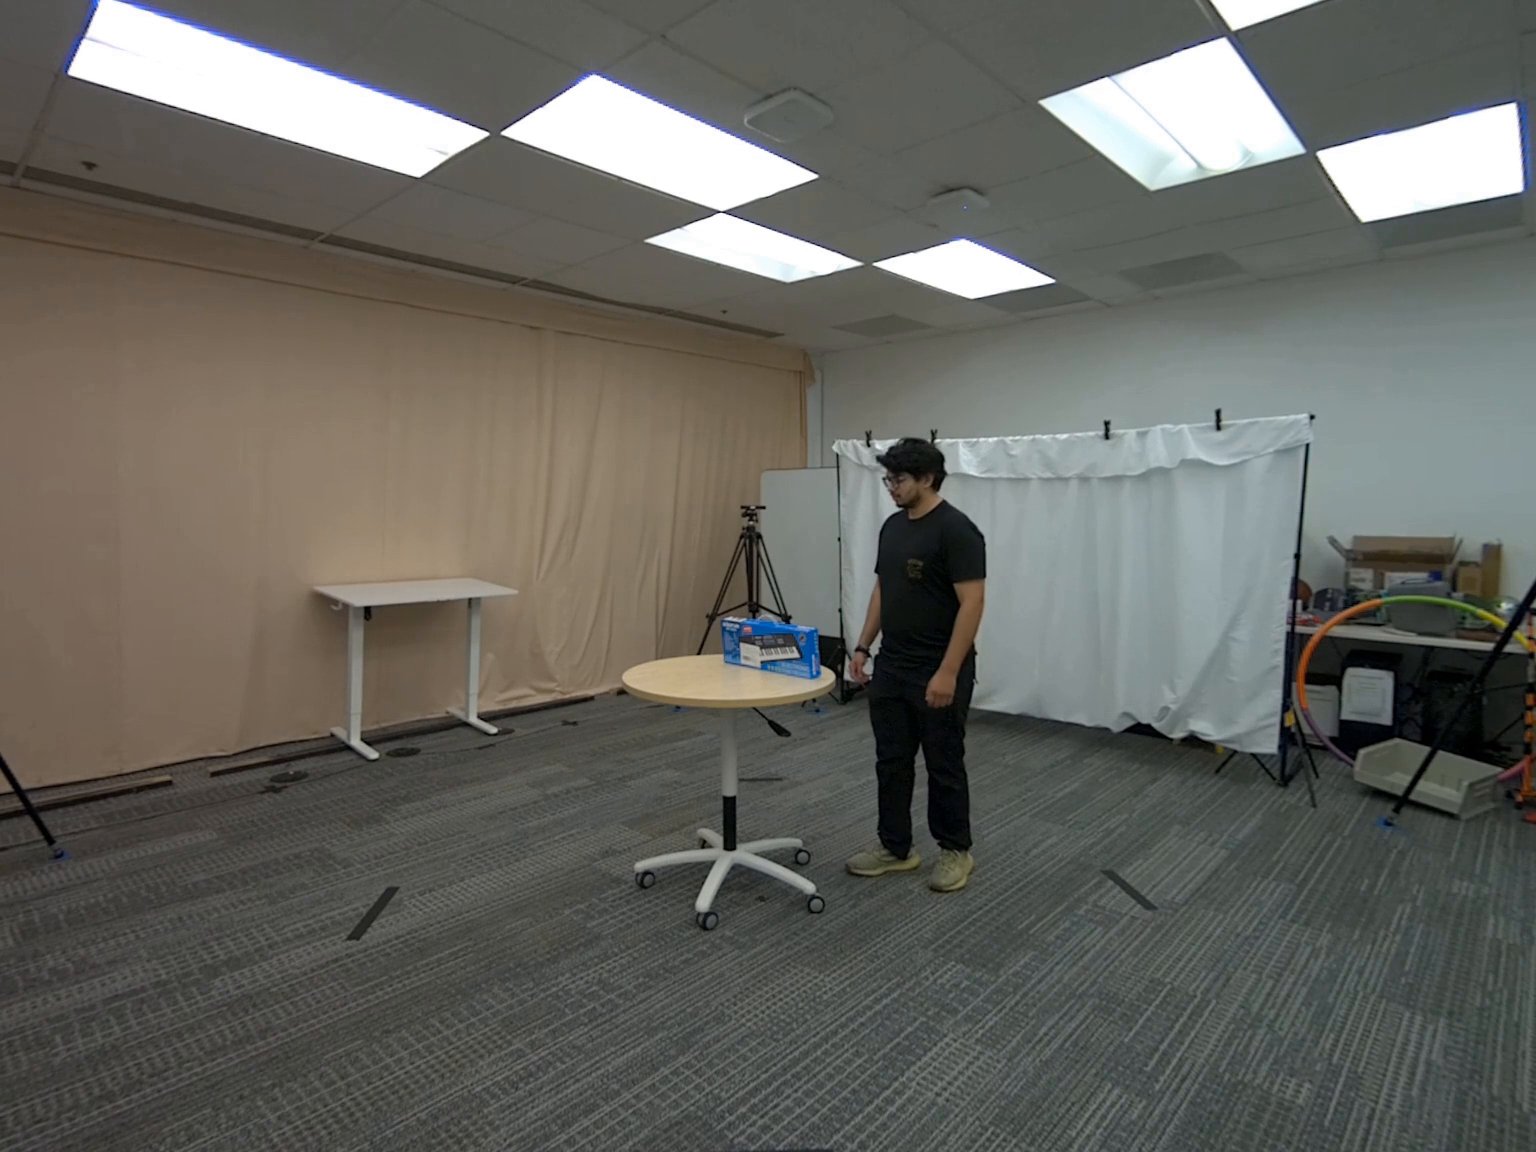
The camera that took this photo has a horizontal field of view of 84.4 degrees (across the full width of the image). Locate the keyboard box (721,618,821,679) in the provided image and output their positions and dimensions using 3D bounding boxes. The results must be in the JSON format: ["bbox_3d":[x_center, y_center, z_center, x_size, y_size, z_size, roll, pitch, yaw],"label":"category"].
[{"bbox_3d":[0.006,0.264,3.113,0.451,0.175,0.057,5,11,44],"label":"keyboard box"}]
